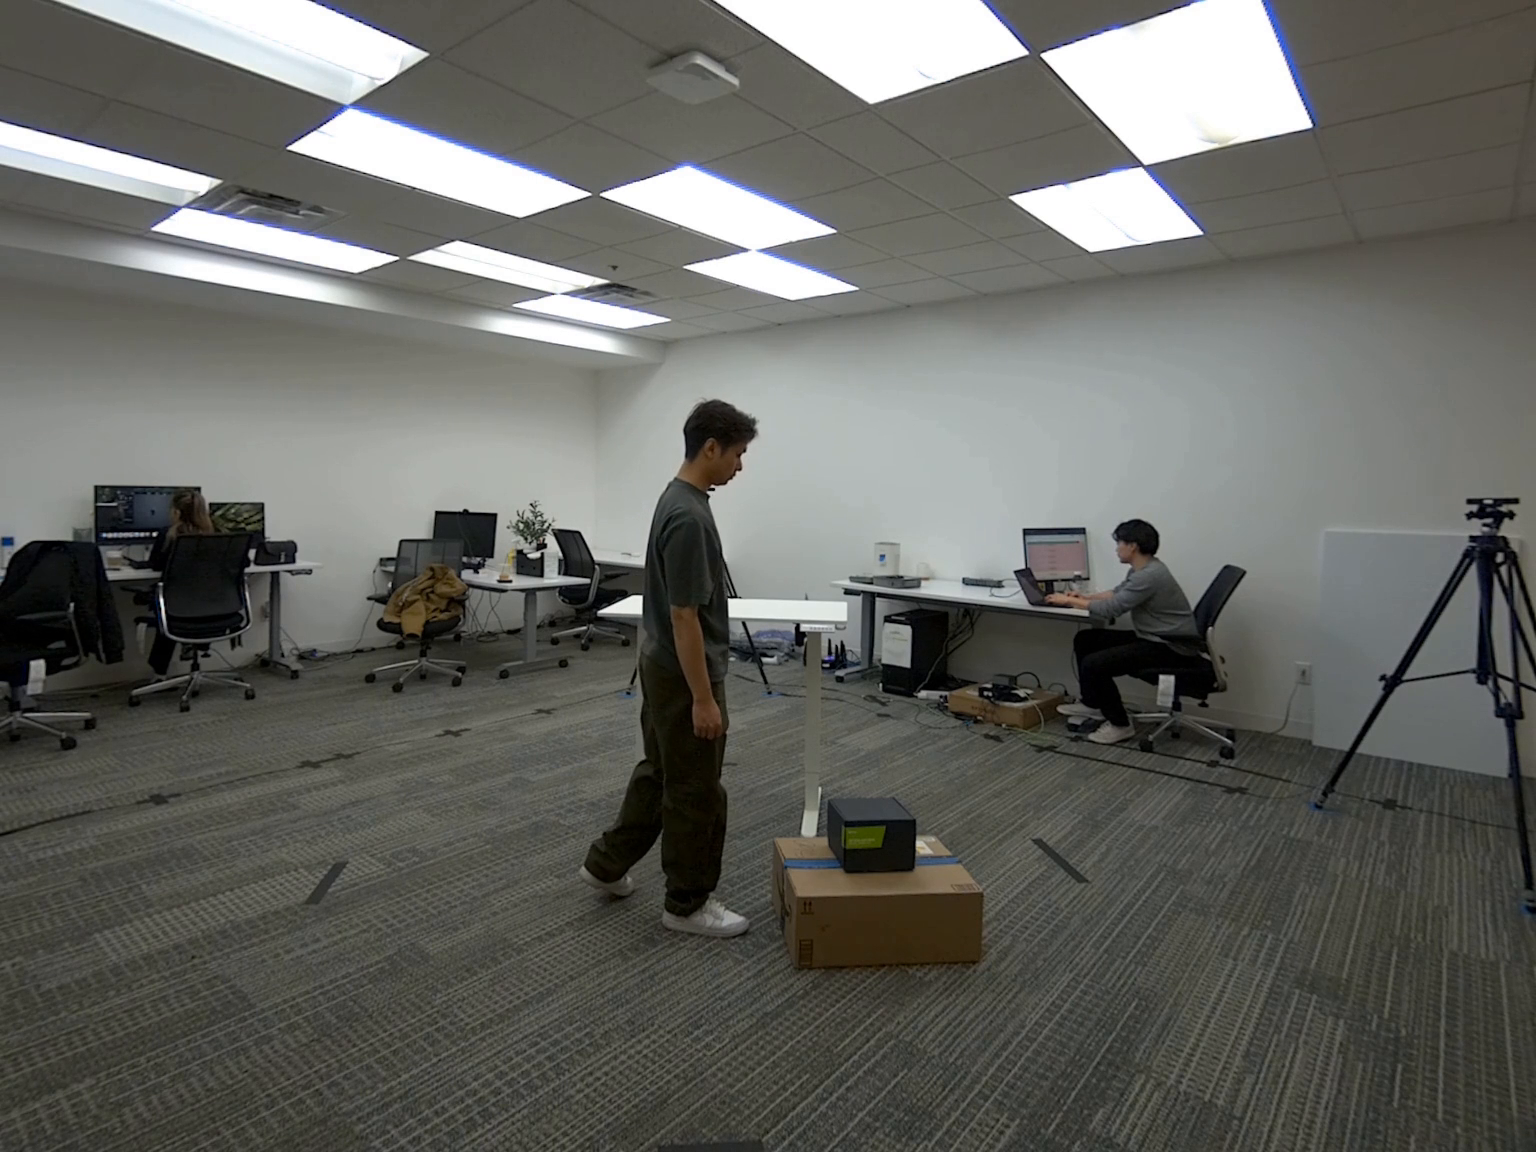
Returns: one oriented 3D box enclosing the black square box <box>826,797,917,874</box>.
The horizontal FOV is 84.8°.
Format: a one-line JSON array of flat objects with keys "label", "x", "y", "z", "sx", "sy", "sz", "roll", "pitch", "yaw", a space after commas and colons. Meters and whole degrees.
[{"label": "black square box", "x": 0.320, "y": 0.819, "z": 2.717, "sx": 0.226, "sy": 0.156, "sz": 0.219, "roll": 1, "pitch": 3, "yaw": -9}]
